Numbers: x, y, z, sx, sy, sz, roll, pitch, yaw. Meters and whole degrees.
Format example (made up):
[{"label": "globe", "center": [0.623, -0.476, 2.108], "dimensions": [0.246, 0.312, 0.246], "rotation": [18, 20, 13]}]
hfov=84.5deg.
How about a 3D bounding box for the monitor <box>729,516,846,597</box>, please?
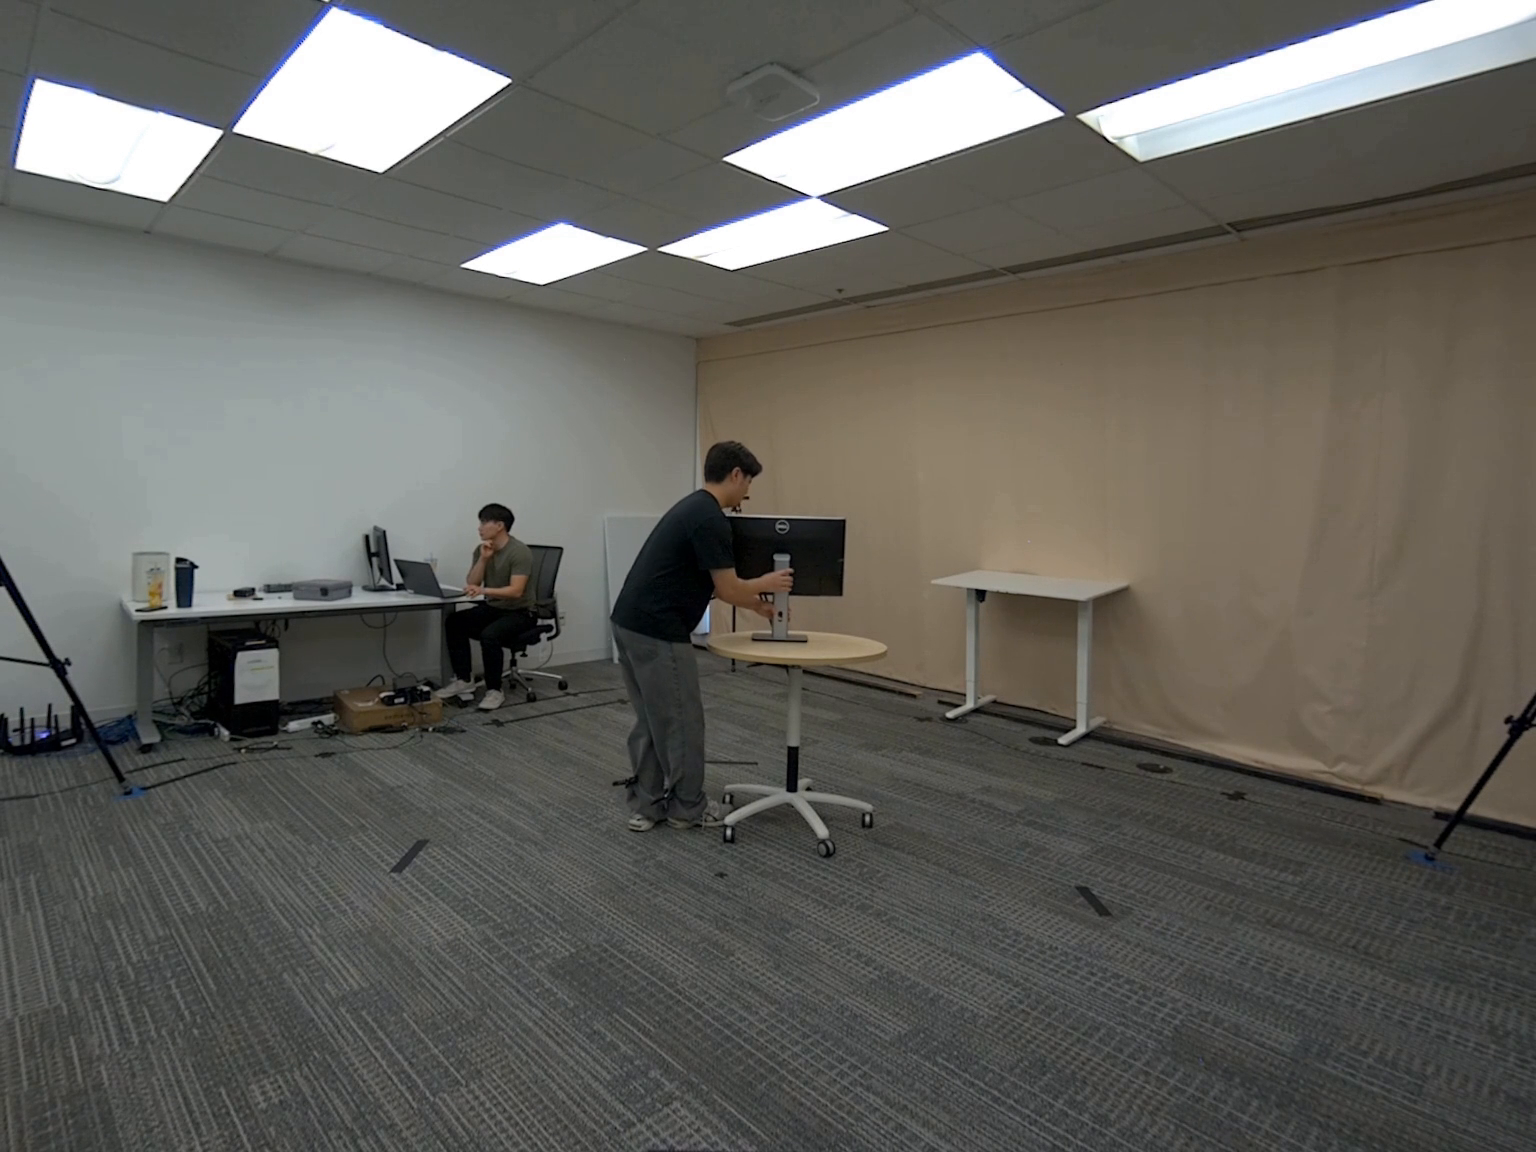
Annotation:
[{"label": "monitor", "center": [0.049, 0.012, 3.712], "dimensions": [0.563, 0.565, 0.221], "rotation": [2, 1, 4]}]
